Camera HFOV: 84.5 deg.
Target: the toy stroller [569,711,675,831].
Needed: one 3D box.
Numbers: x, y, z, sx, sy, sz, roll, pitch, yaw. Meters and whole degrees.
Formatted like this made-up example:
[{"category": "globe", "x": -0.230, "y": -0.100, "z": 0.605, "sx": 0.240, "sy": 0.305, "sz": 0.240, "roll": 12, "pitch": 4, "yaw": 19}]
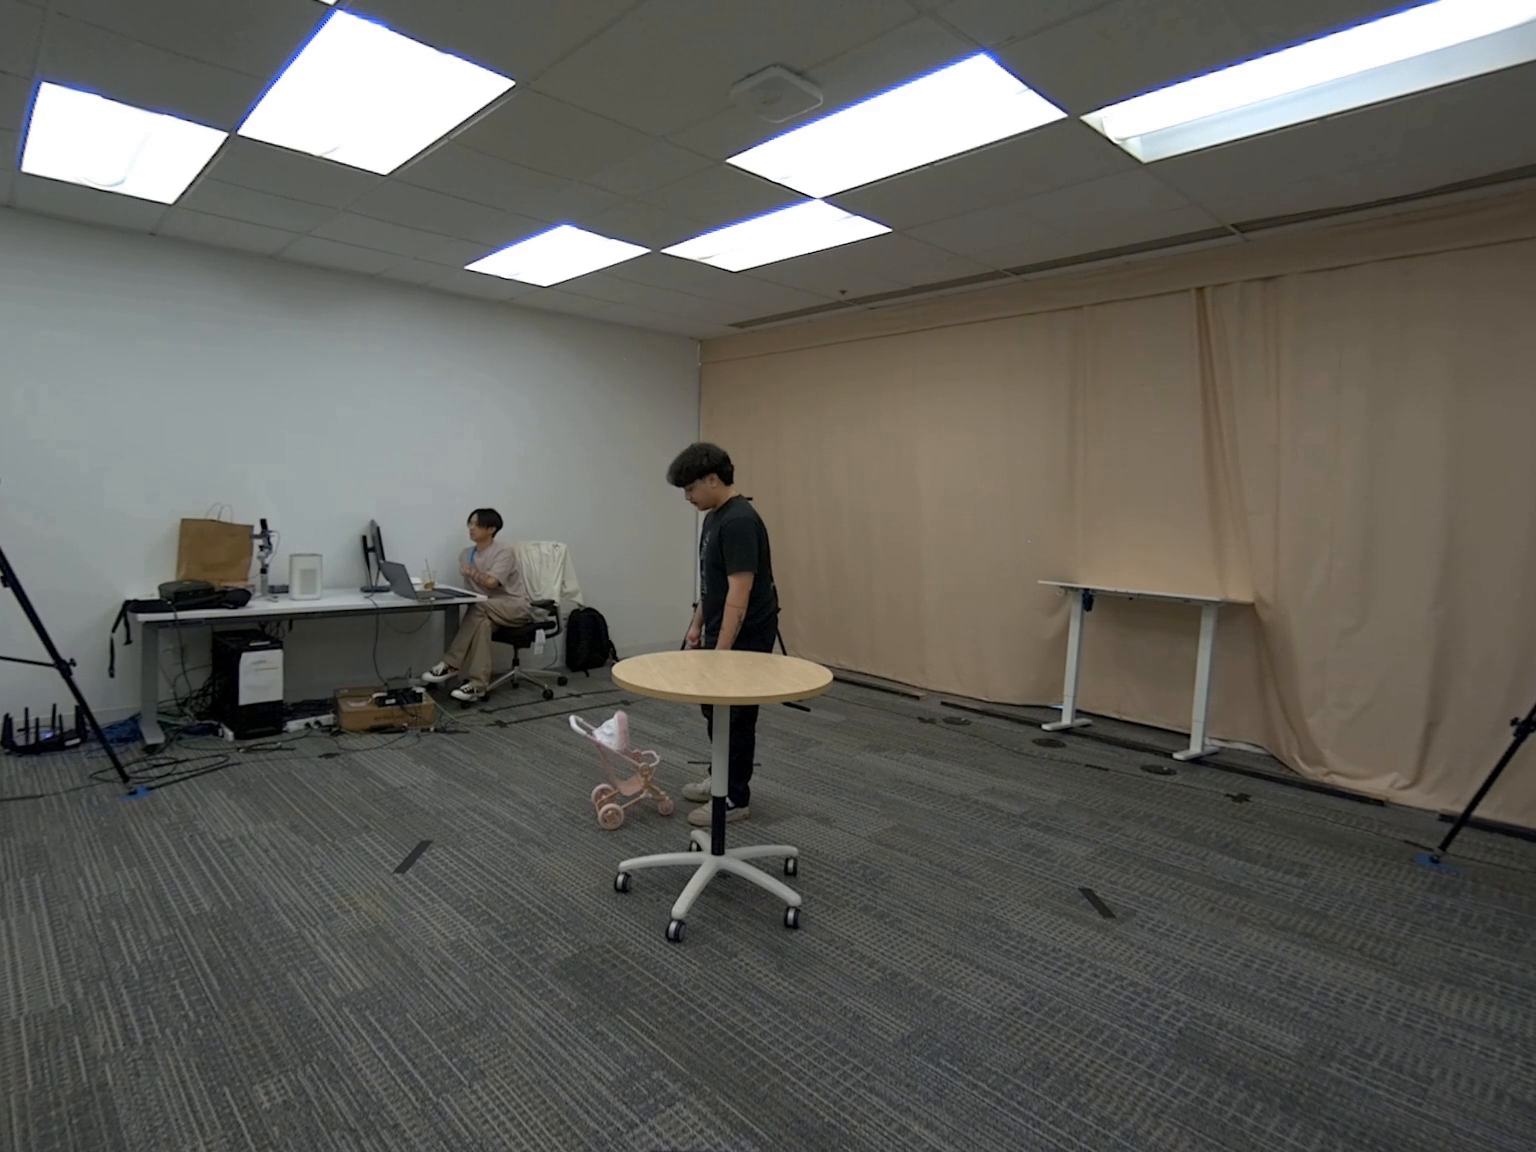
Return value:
[{"category": "toy stroller", "x": -0.634, "y": 0.827, "z": 3.637, "sx": 0.339, "sy": 0.532, "sz": 0.285, "roll": -14, "pitch": 6, "yaw": -11}]
